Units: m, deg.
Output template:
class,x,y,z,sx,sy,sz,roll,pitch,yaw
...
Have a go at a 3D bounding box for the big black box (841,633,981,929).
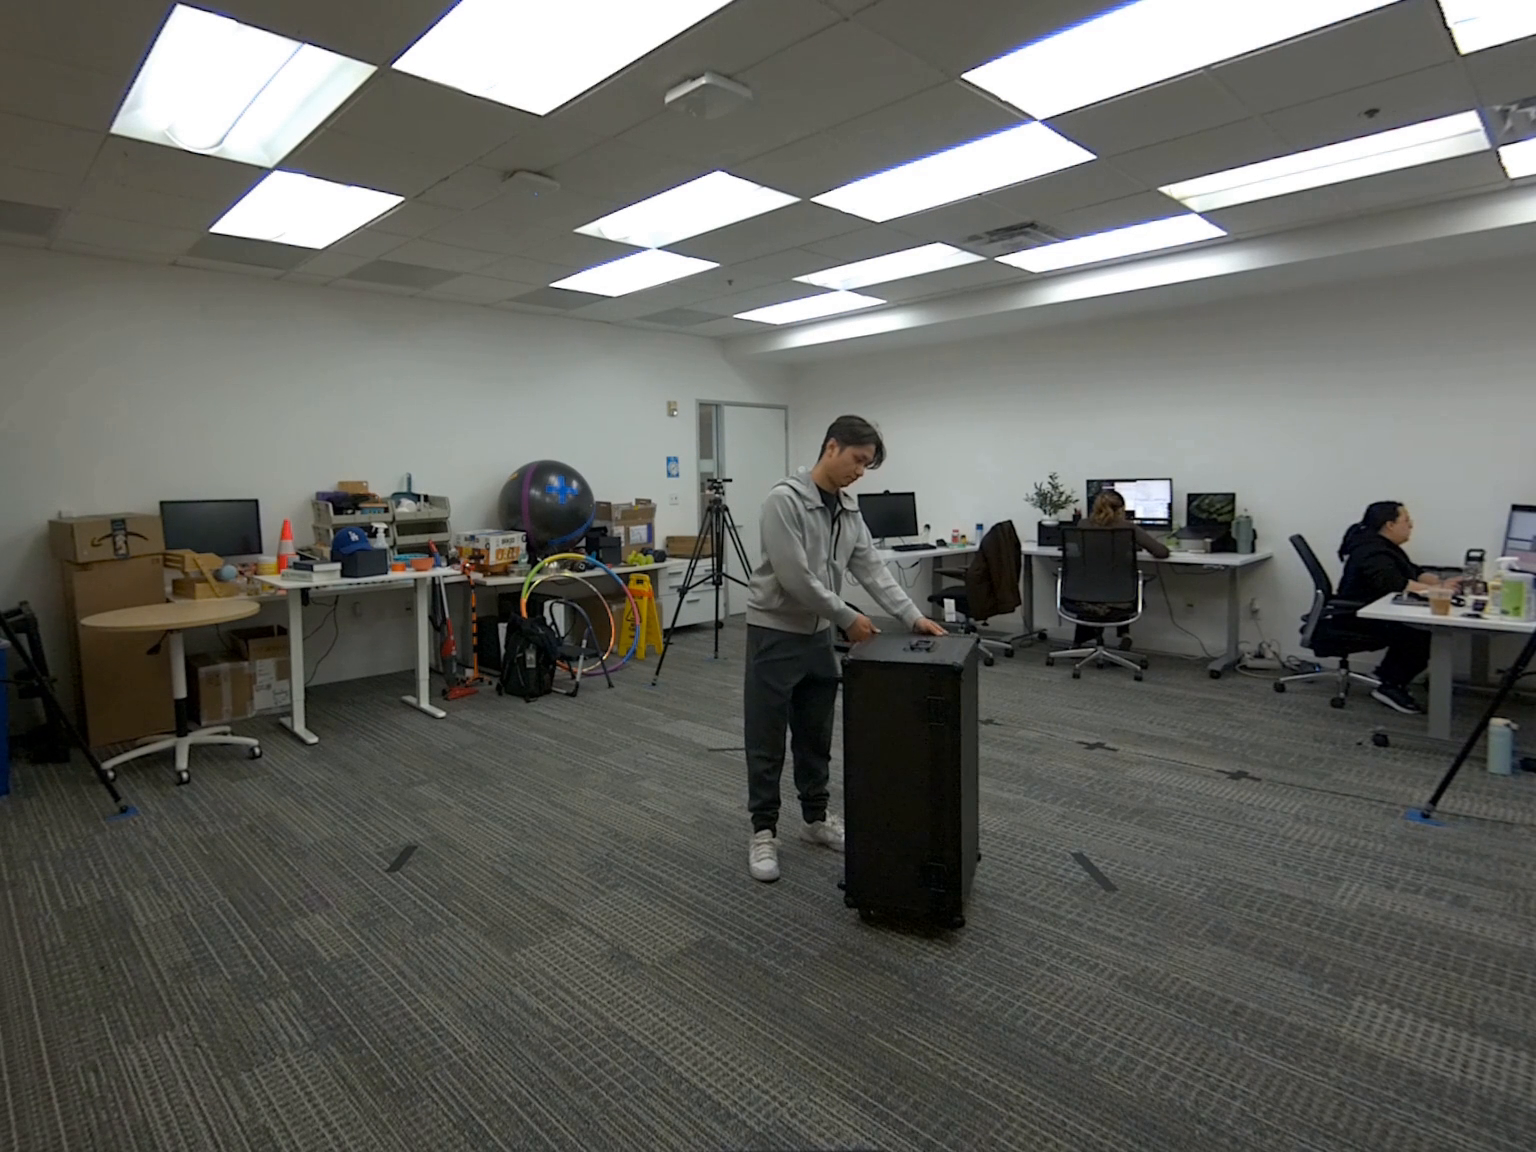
class,x,y,z,sx,sy,sz,roll,pitch,yaw
big black box,0.471,0.650,2.762,0.404,0.859,0.513,-1,4,20
